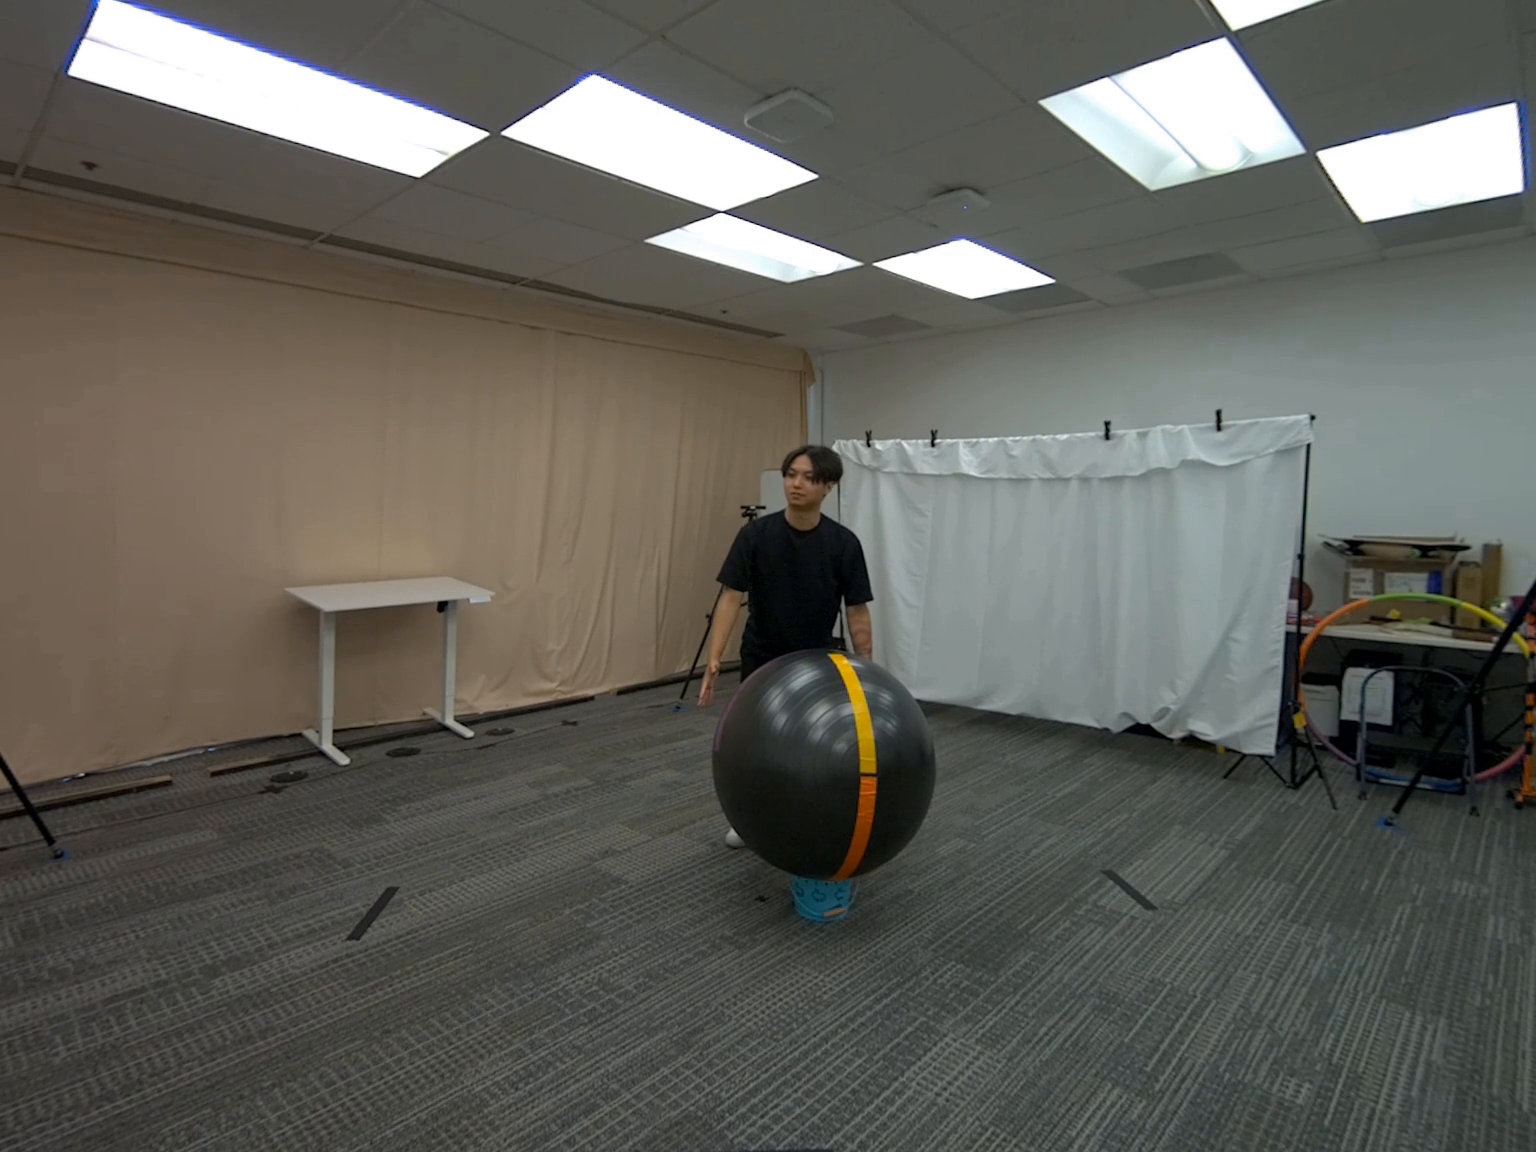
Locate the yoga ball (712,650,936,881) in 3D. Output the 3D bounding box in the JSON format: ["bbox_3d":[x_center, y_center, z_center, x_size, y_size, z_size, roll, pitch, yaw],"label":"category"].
[{"bbox_3d":[0.193,0.639,2.886,0.757,0.756,0.760,0,4,-2],"label":"yoga ball"}]
